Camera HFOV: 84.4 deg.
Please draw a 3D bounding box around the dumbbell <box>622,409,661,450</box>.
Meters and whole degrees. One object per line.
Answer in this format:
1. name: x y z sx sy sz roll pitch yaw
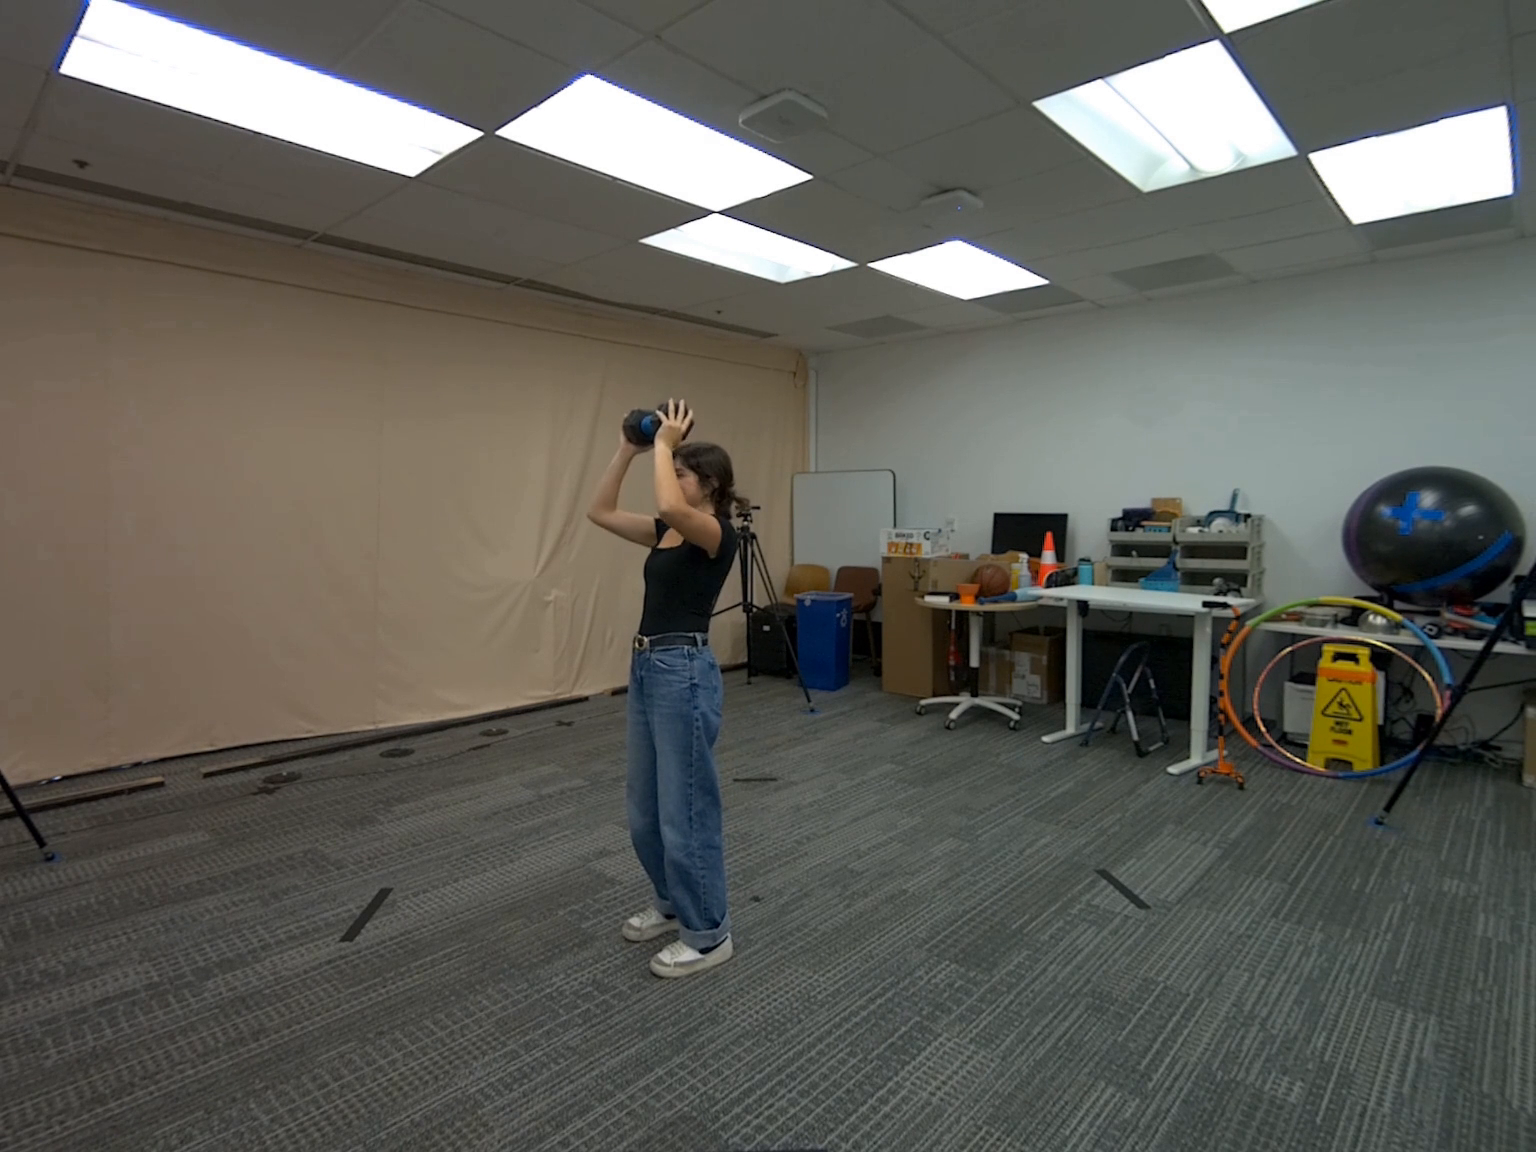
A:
1. dumbbell: -0.339 -0.473 2.598 0.107 0.120 0.302 -37 22 -24
